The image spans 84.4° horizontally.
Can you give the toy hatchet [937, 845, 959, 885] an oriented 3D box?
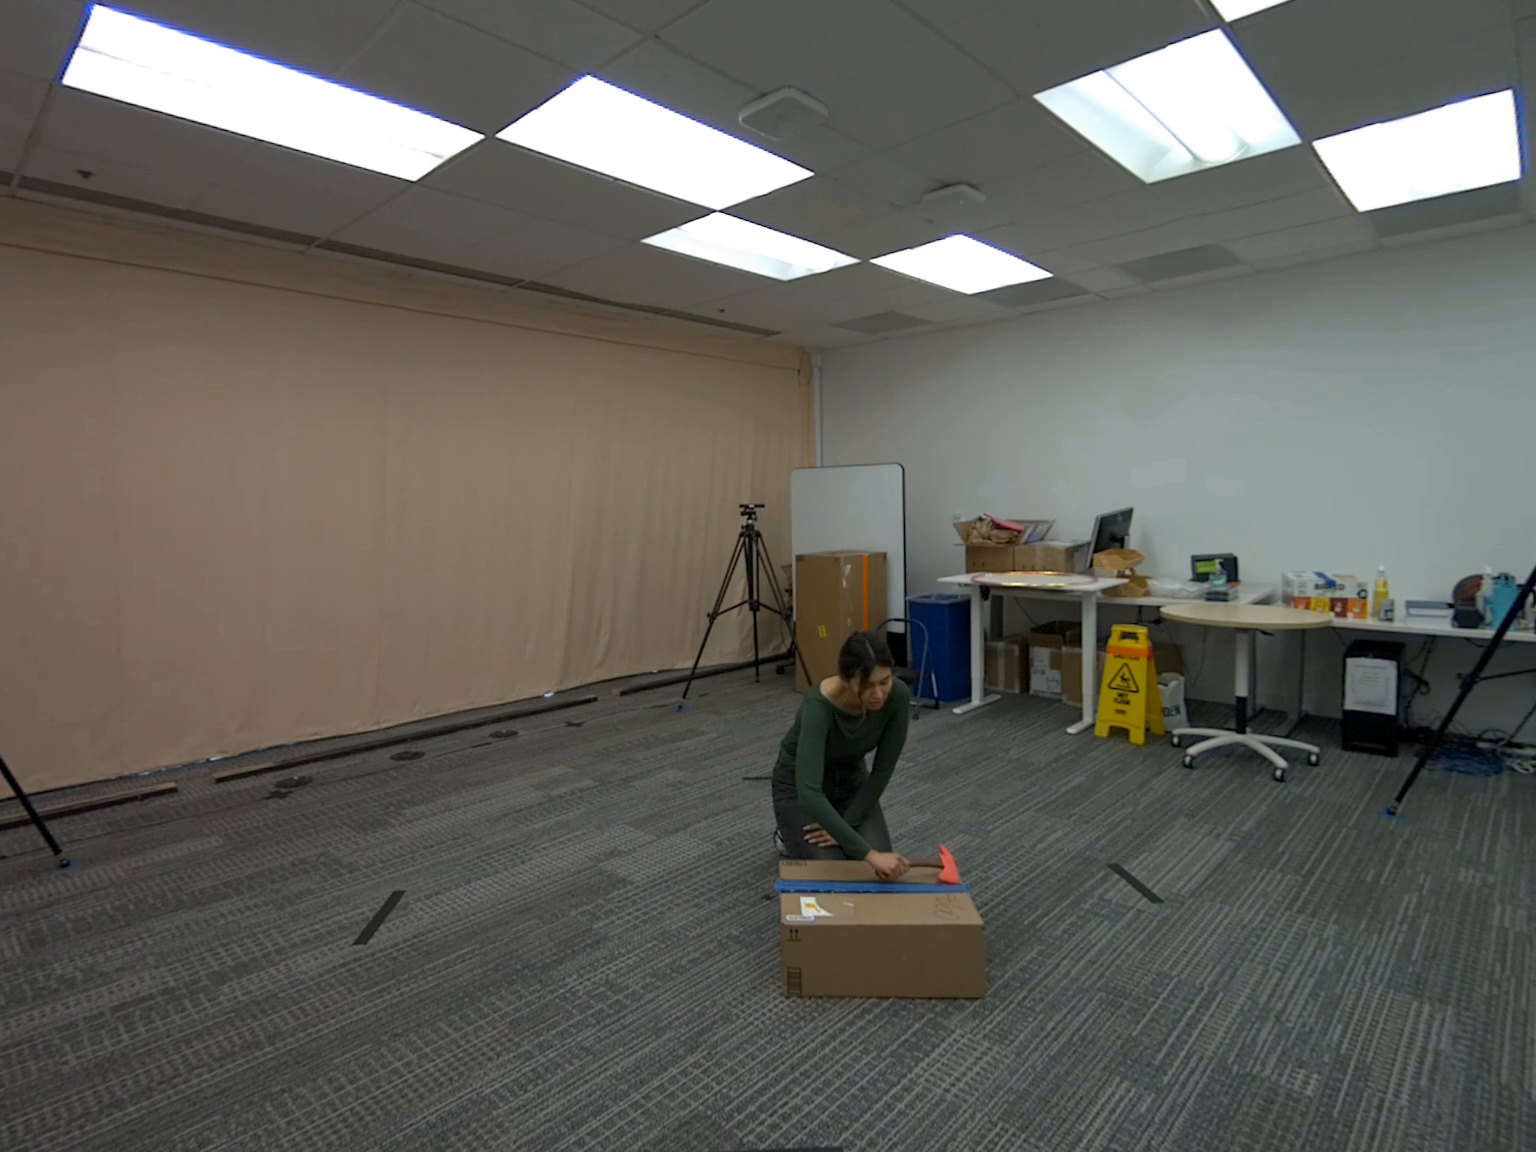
[{"bbox_3d":[0.481,0.918,2.581,0.264,0.029,0.135,-10,41,-23],"label":"toy hatchet"}]
